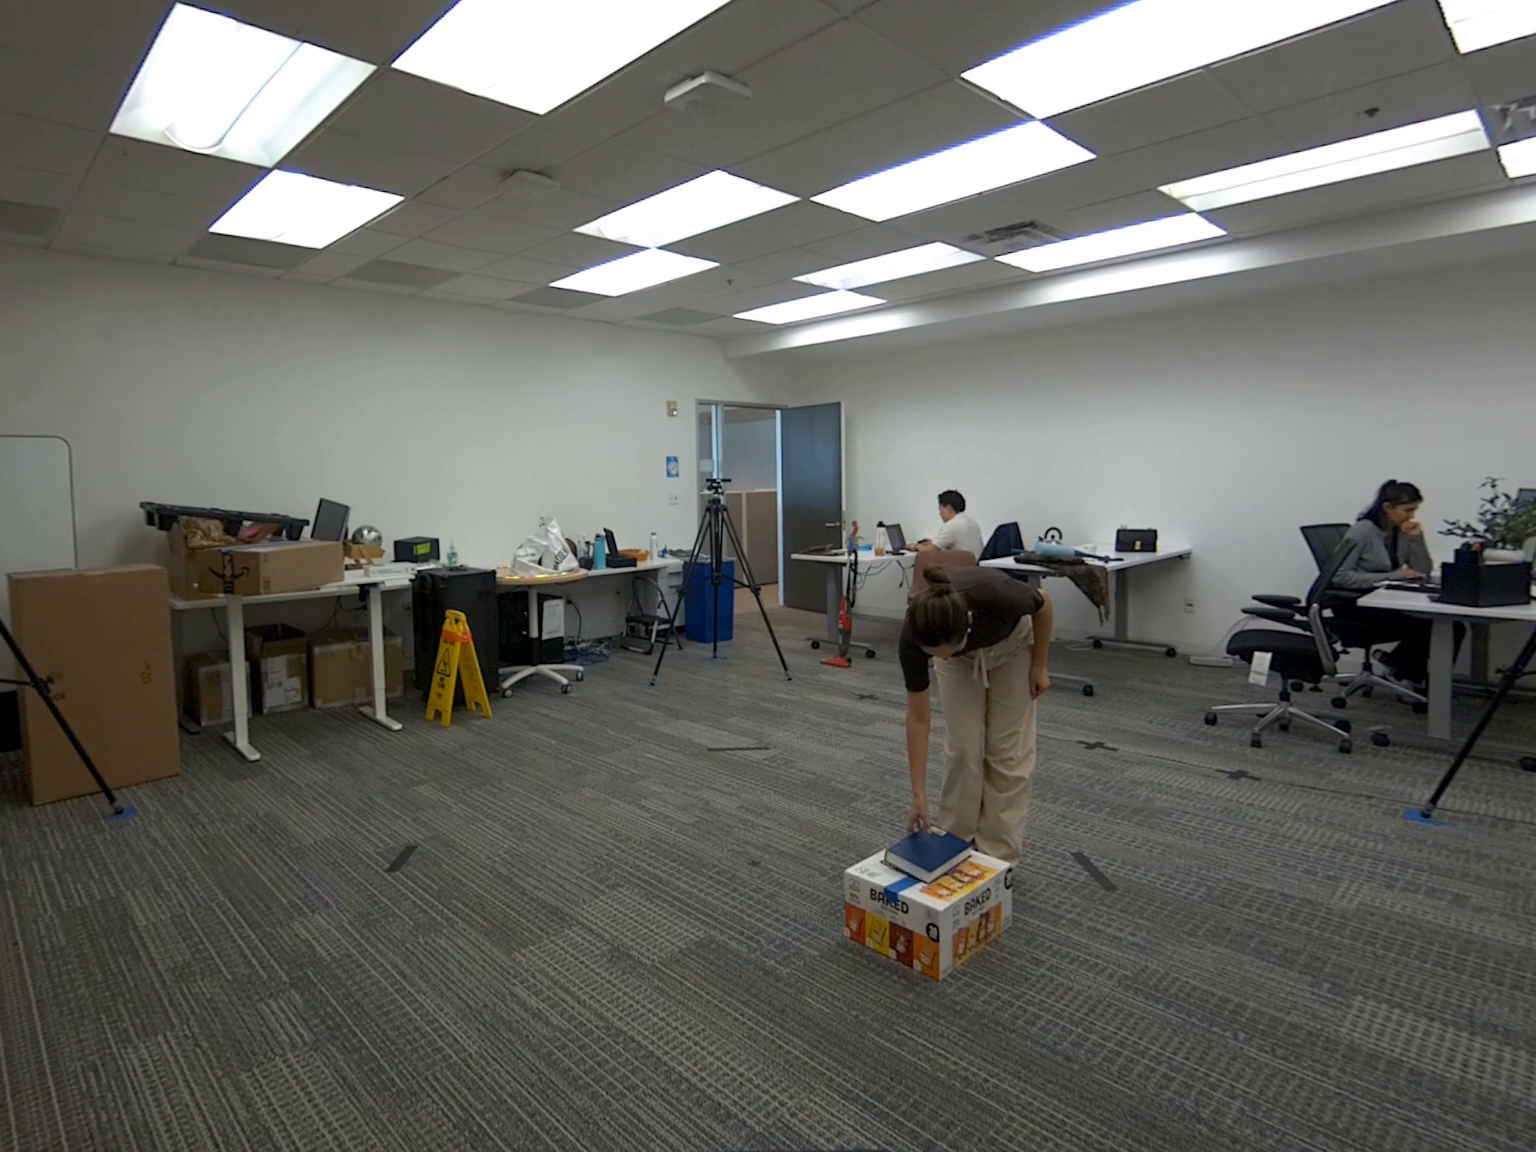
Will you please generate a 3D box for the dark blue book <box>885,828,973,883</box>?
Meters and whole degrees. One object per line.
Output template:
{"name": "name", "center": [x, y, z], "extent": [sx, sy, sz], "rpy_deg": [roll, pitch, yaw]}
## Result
{"name": "dark blue book", "center": [0.510, 0.863, 2.637], "extent": [0.239, 0.045, 0.169], "rpy_deg": [-9, 16, -43]}
